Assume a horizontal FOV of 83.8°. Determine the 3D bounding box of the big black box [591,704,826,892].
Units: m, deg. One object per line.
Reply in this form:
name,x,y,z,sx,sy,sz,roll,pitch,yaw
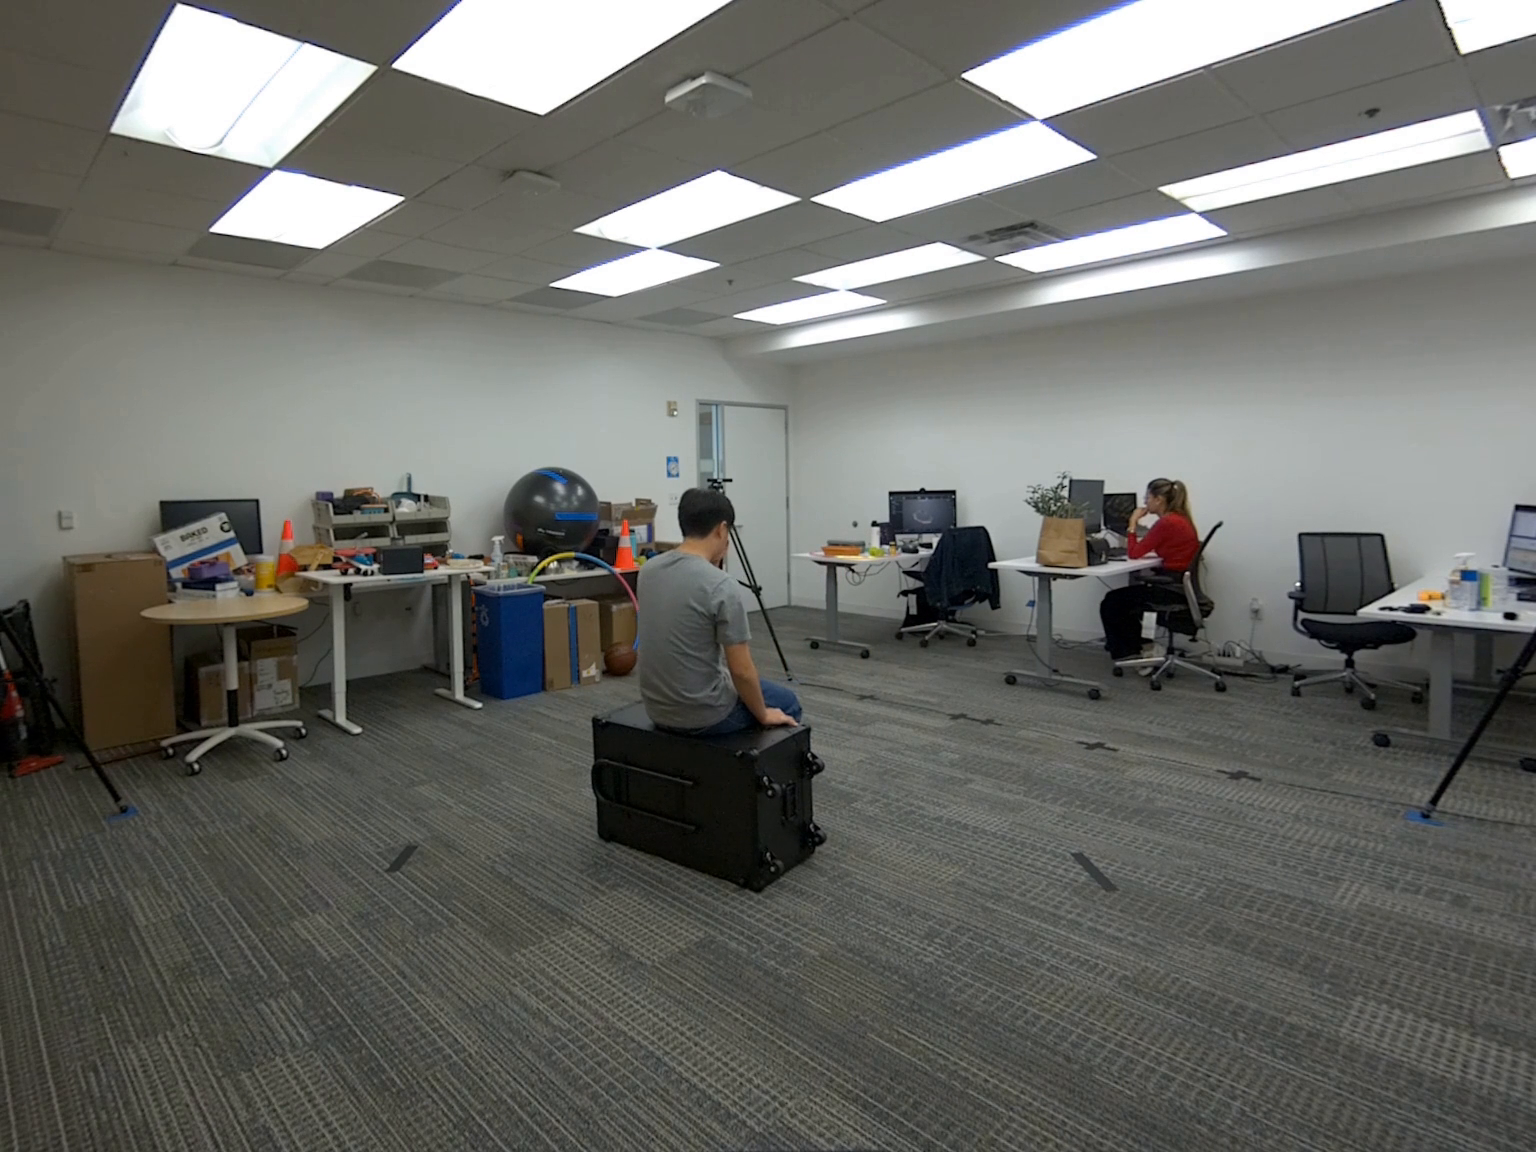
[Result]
big black box,-0.235,0.783,3.208,0.887,0.518,0.387,3,8,36
